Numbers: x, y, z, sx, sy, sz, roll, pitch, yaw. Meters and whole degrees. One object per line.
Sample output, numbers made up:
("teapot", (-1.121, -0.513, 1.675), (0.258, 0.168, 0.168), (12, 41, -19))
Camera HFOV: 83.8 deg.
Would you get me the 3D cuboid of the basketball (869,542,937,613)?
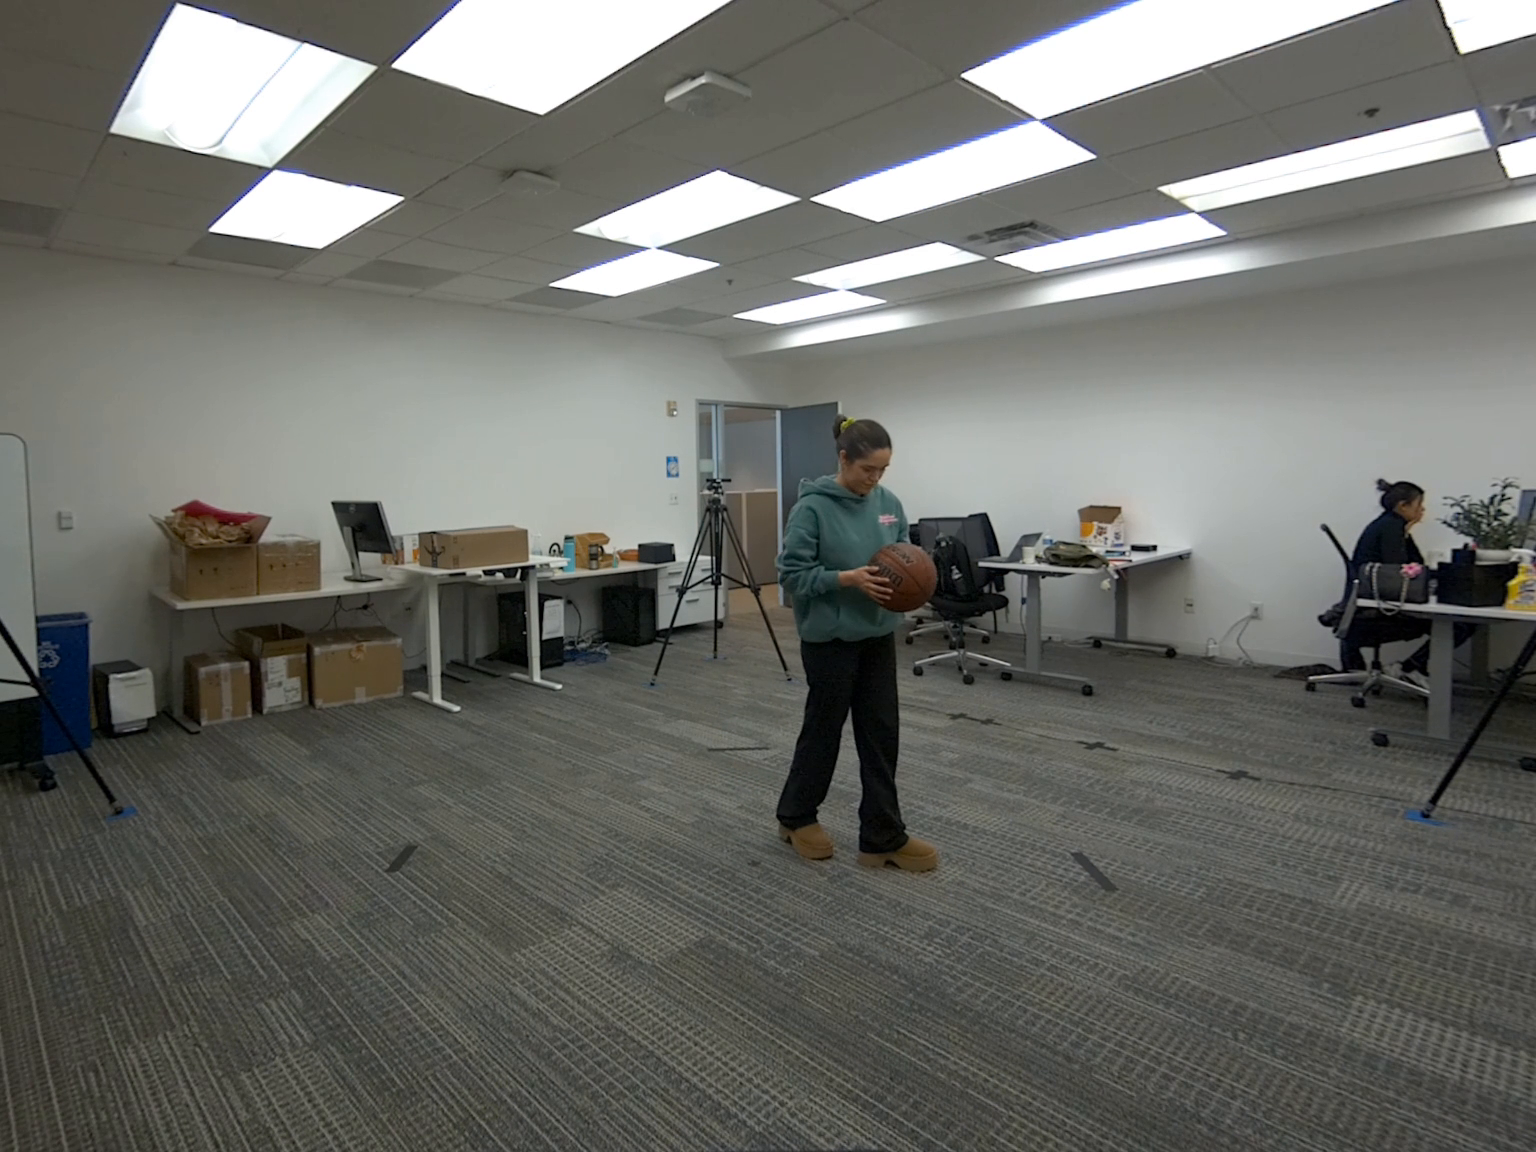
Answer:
("basketball", (0.441, 0.006, 2.879), (0.236, 0.235, 0.237), (-1, 5, -2))
